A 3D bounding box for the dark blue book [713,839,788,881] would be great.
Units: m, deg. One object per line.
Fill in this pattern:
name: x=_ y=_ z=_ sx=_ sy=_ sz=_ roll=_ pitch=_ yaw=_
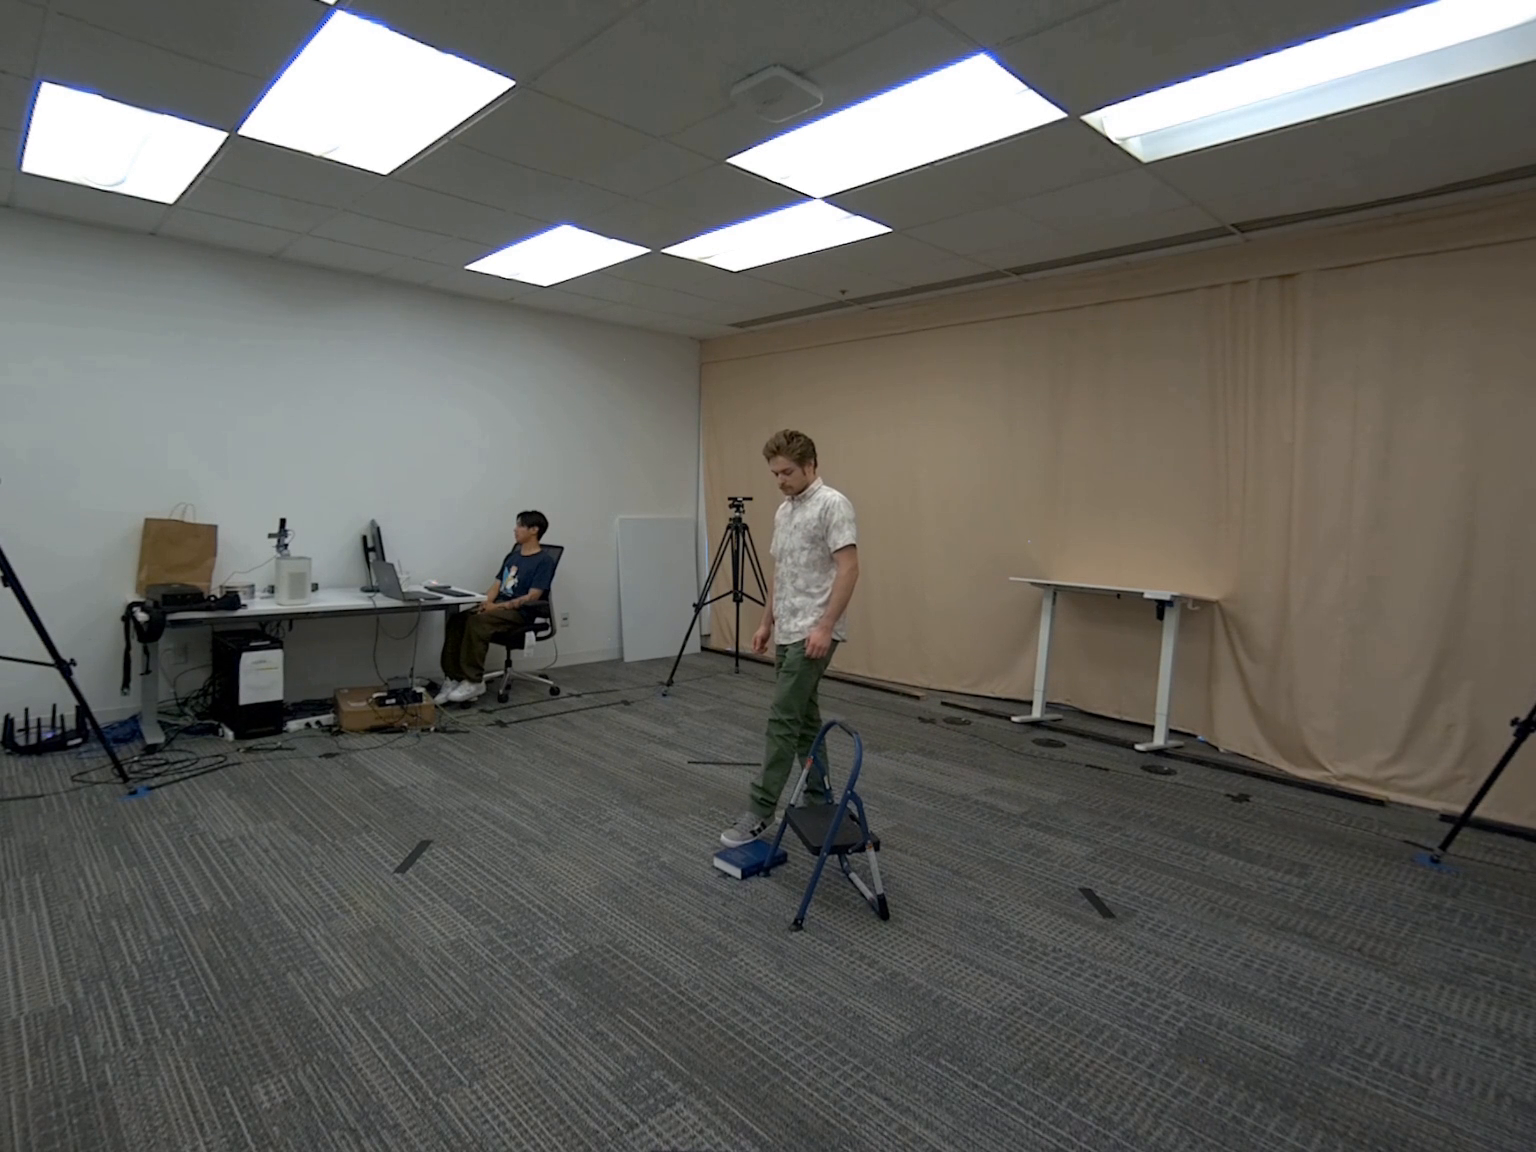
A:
dark blue book: x=-0.078 y=1.077 z=3.209 sx=0.239 sy=0.045 sz=0.167 roll=-3 pitch=6 yaw=-43
